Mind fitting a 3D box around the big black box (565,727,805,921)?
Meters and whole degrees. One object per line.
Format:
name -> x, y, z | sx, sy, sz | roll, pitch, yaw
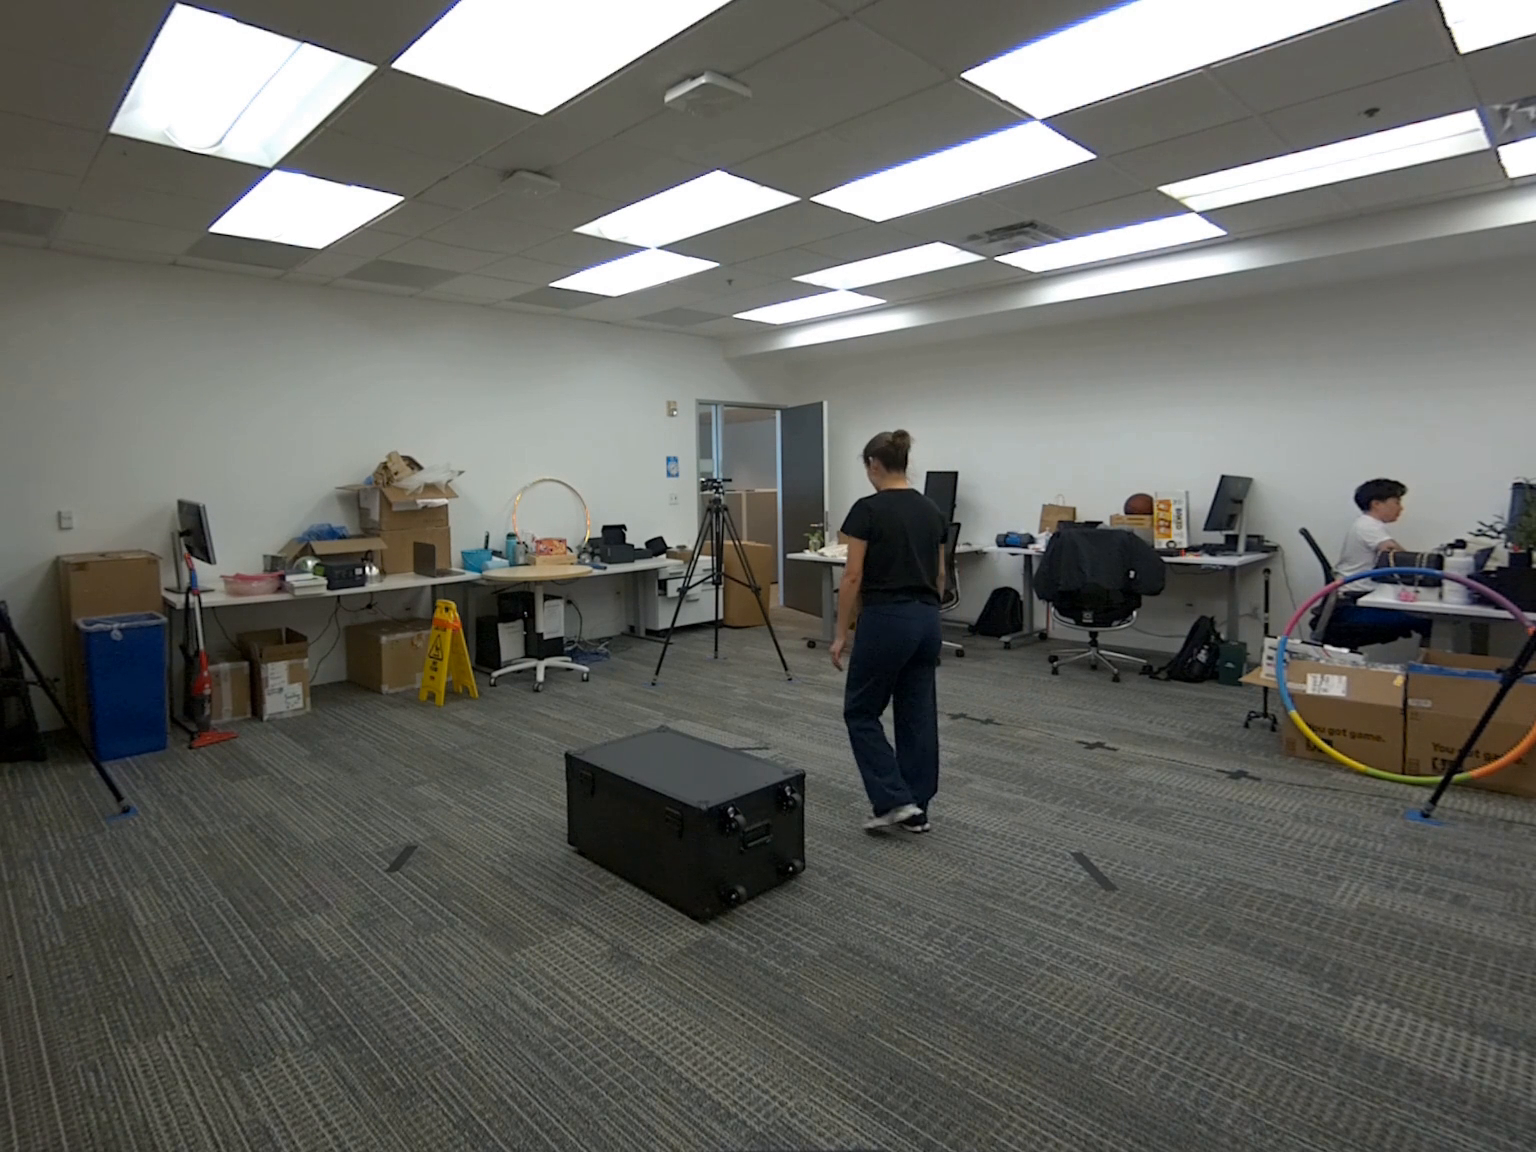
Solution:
big black box -> -0.297, 0.860, 3.094 | 0.888, 0.395, 0.508 | 4, 7, 45
